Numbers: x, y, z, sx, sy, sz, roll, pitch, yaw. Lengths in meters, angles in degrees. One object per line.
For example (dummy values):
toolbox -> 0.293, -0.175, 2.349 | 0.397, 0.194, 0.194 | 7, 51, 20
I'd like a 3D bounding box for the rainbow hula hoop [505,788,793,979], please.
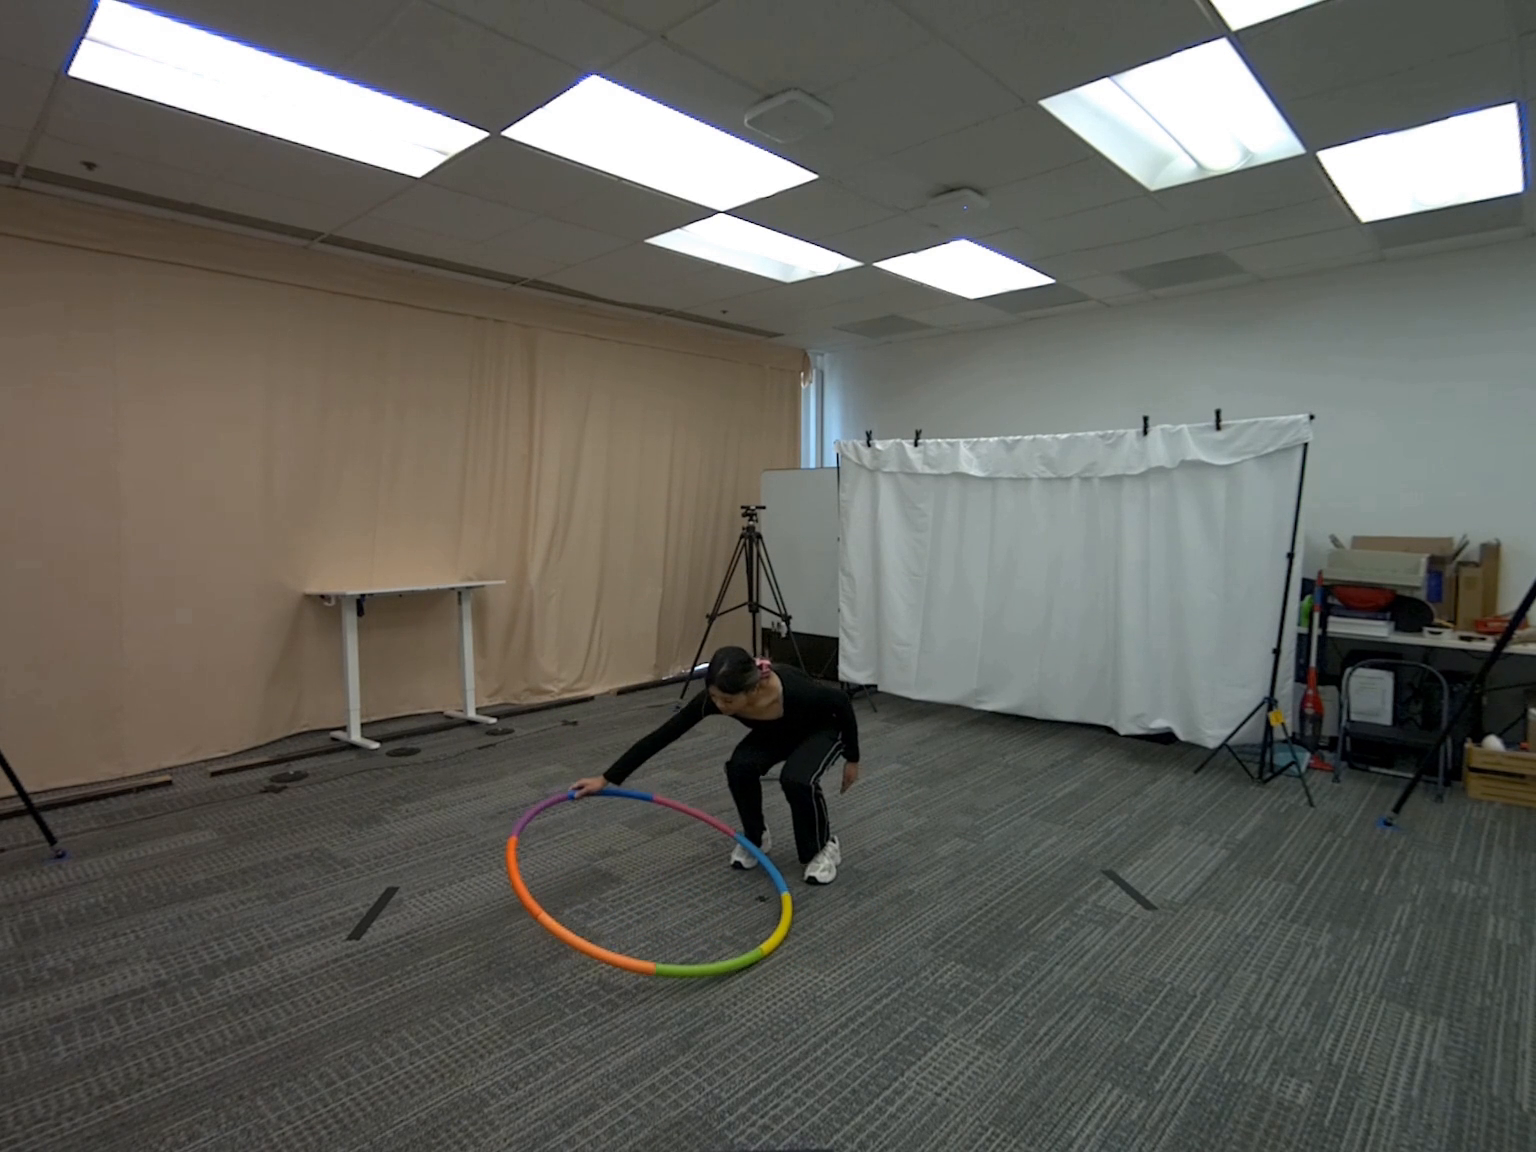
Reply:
rainbow hula hoop -> -0.388, 0.990, 2.853 | 0.974, 0.035, 0.987 | 15, 12, -5
